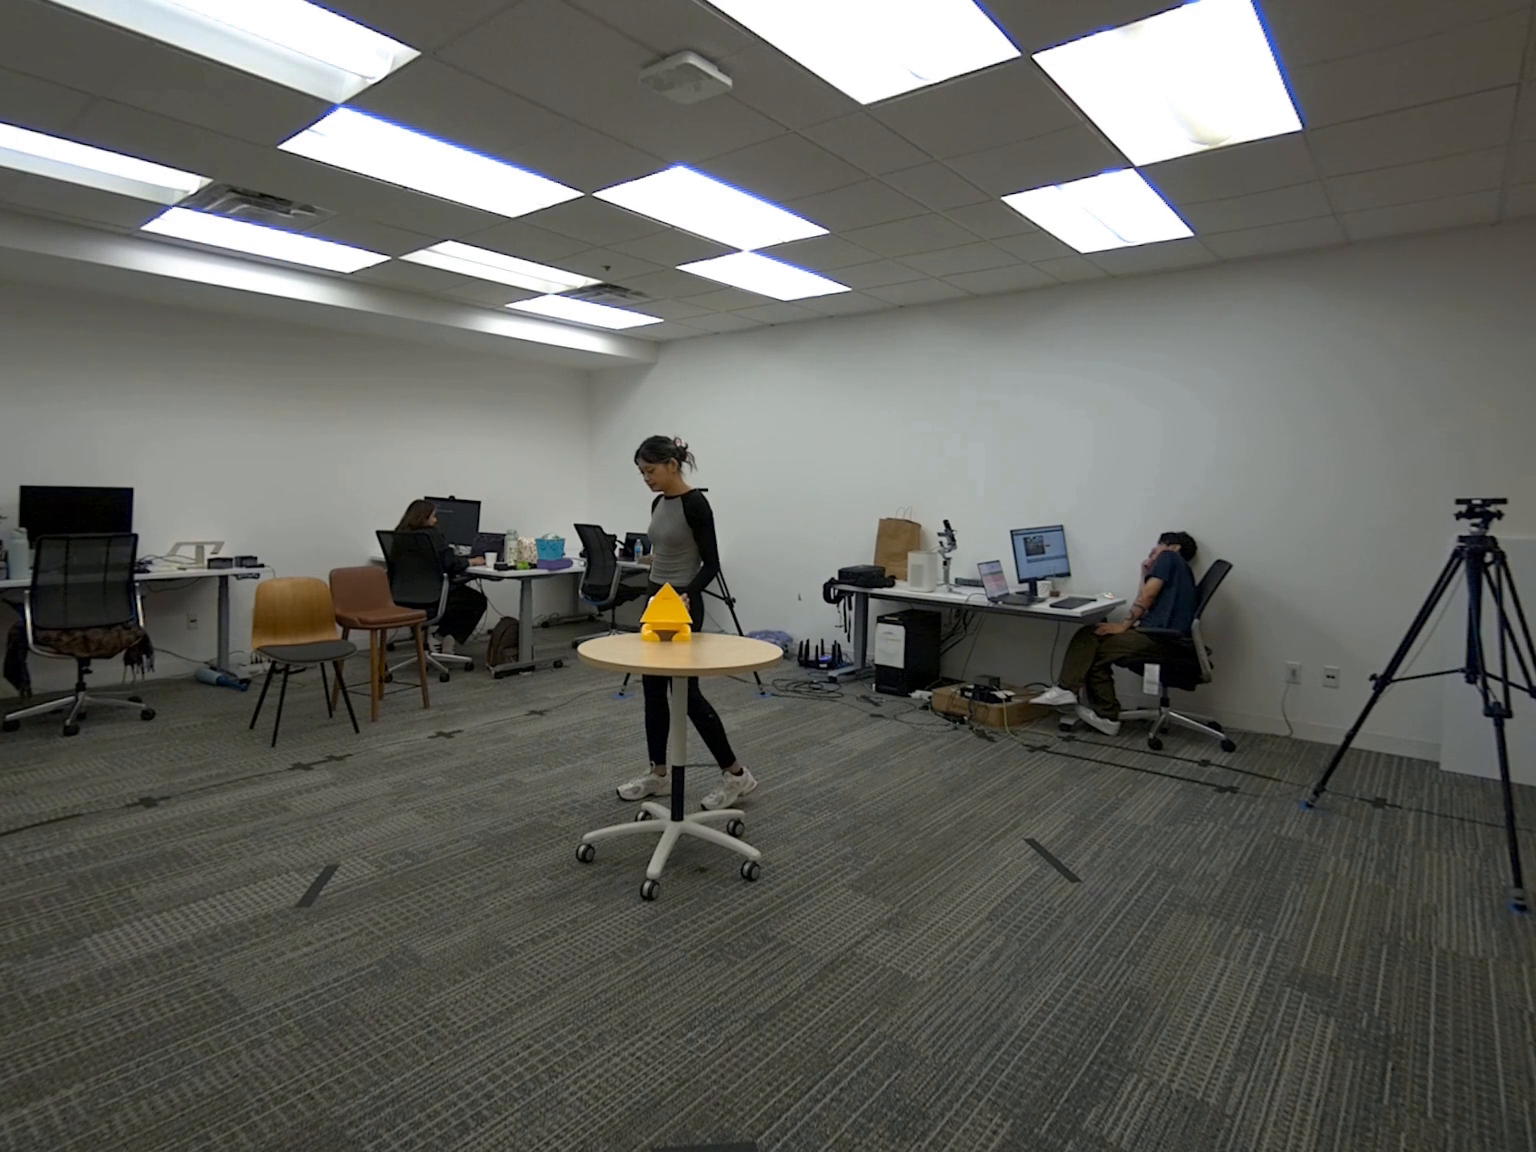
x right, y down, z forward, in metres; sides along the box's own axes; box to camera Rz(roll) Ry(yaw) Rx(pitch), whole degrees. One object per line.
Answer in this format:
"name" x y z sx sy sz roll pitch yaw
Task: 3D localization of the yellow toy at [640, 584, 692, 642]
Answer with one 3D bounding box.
"yellow toy" -0.417 0.131 3.398 0.204 0.230 0.194 1 4 -4
